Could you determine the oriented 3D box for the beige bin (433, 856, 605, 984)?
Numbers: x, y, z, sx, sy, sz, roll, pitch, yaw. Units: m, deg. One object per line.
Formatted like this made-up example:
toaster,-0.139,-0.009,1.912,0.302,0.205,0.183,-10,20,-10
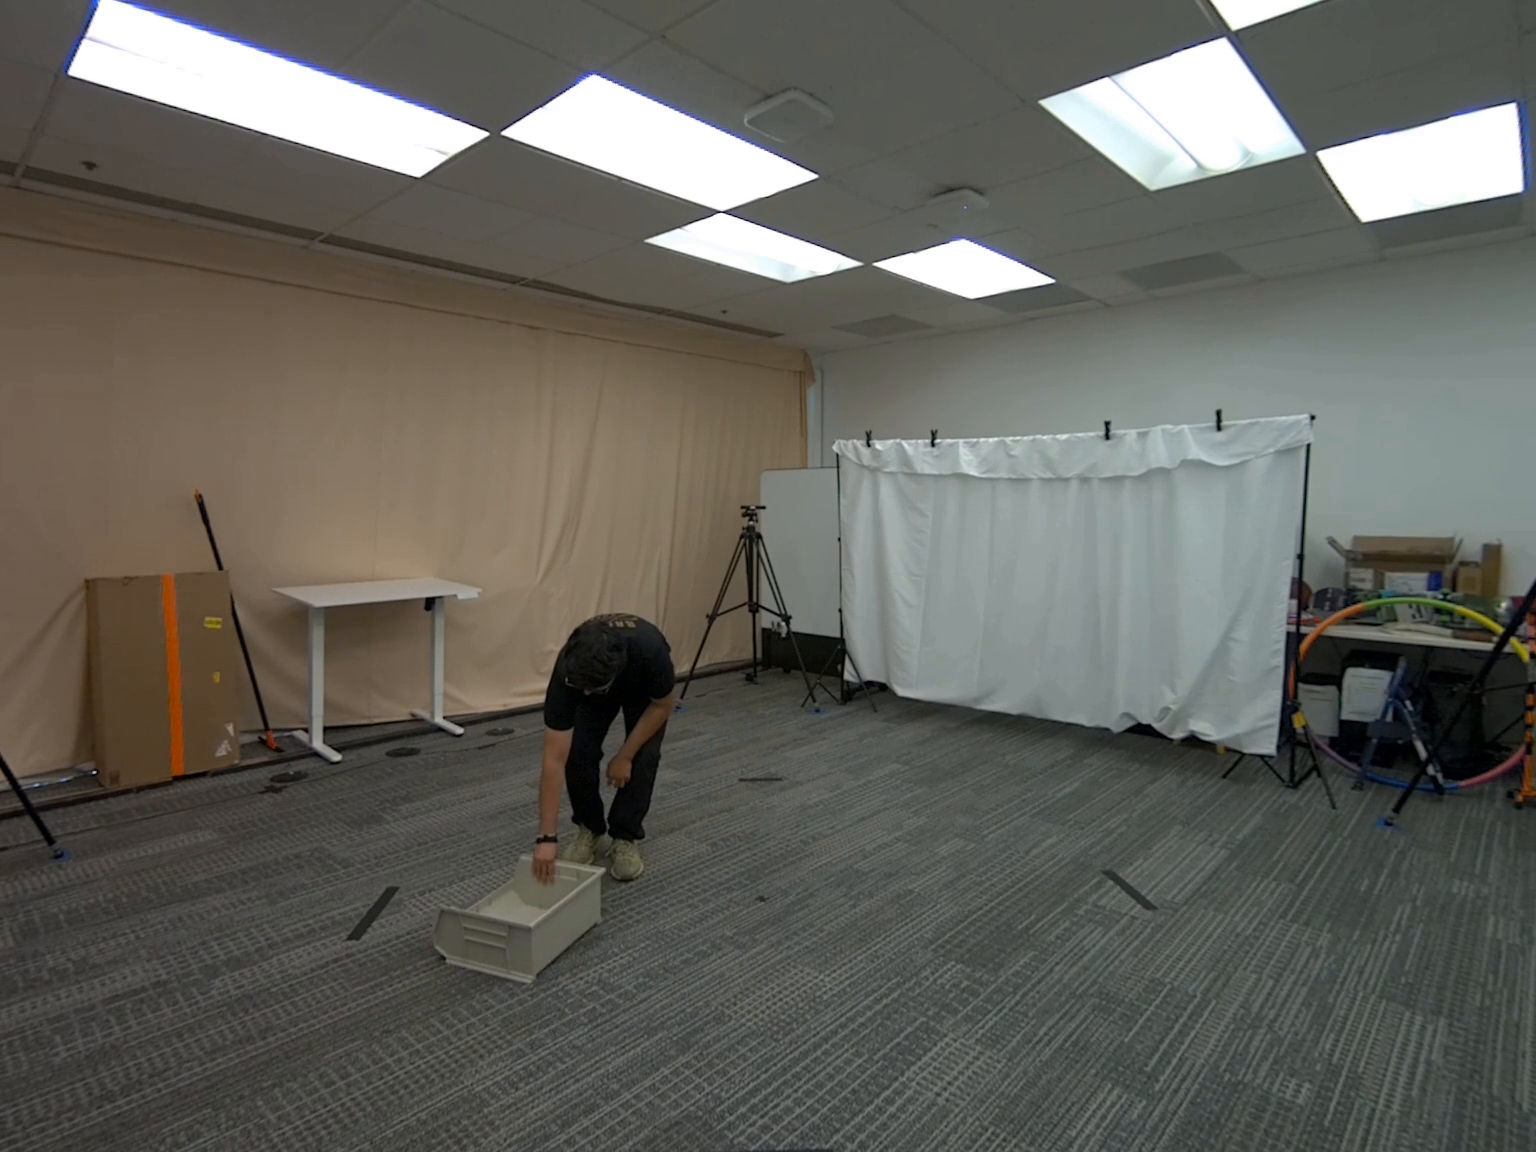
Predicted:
beige bin,-0.788,1.077,2.707,0.386,0.188,0.414,2,5,21
